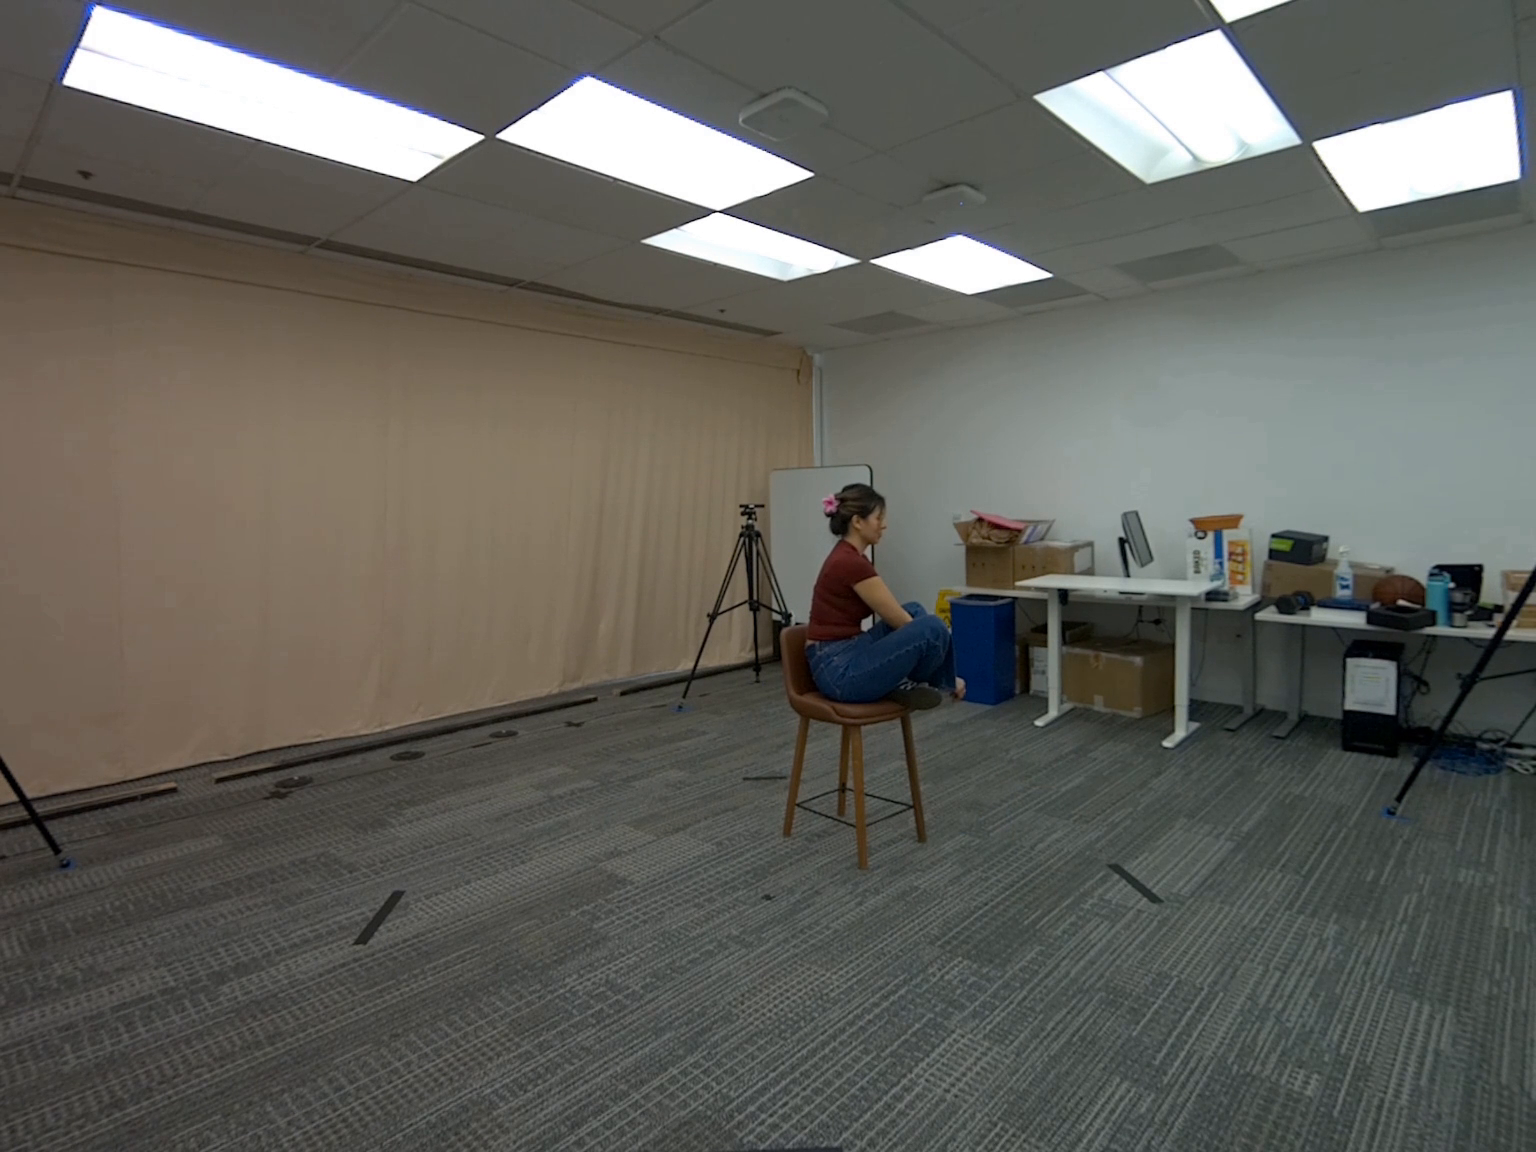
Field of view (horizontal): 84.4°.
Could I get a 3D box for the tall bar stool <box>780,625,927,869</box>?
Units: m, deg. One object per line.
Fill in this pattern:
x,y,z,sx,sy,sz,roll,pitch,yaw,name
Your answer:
0.345,0.658,3.481,0.442,0.889,0.483,-3,2,-43,tall bar stool
